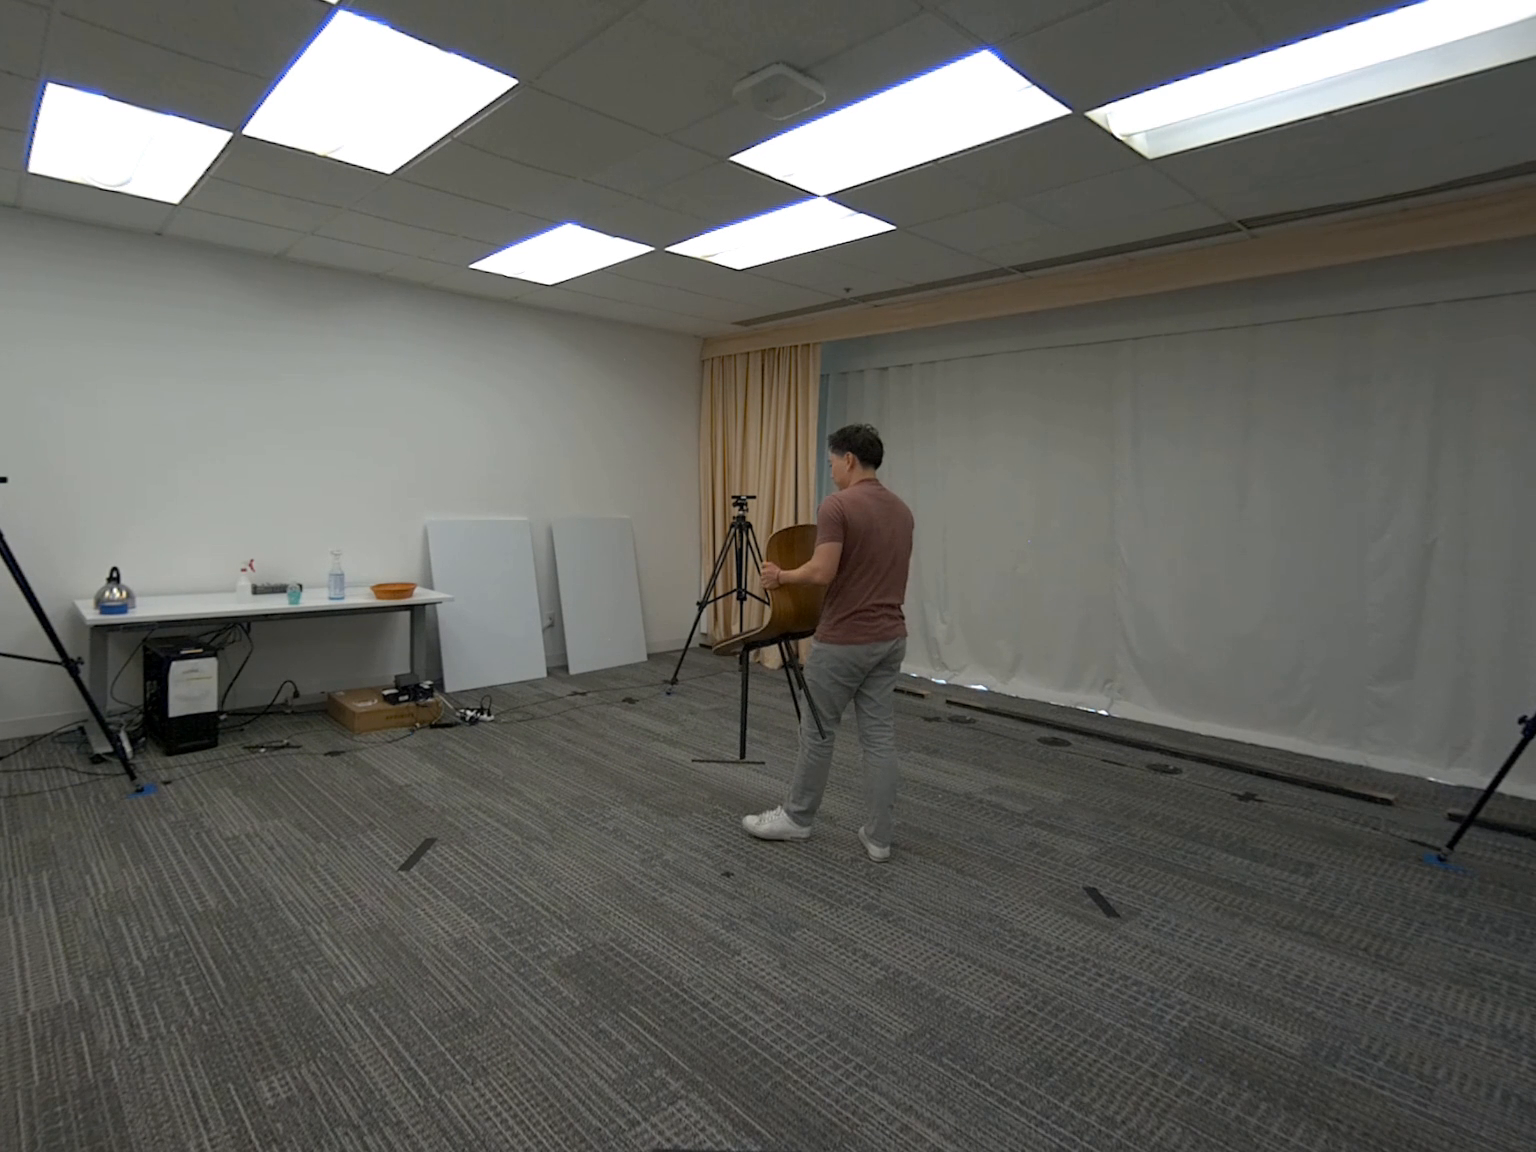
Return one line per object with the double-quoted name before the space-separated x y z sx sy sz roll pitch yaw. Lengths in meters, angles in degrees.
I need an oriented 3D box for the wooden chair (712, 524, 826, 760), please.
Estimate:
"wooden chair" 0.050 0.276 3.567 0.531 0.884 0.467 -20 -10 40
